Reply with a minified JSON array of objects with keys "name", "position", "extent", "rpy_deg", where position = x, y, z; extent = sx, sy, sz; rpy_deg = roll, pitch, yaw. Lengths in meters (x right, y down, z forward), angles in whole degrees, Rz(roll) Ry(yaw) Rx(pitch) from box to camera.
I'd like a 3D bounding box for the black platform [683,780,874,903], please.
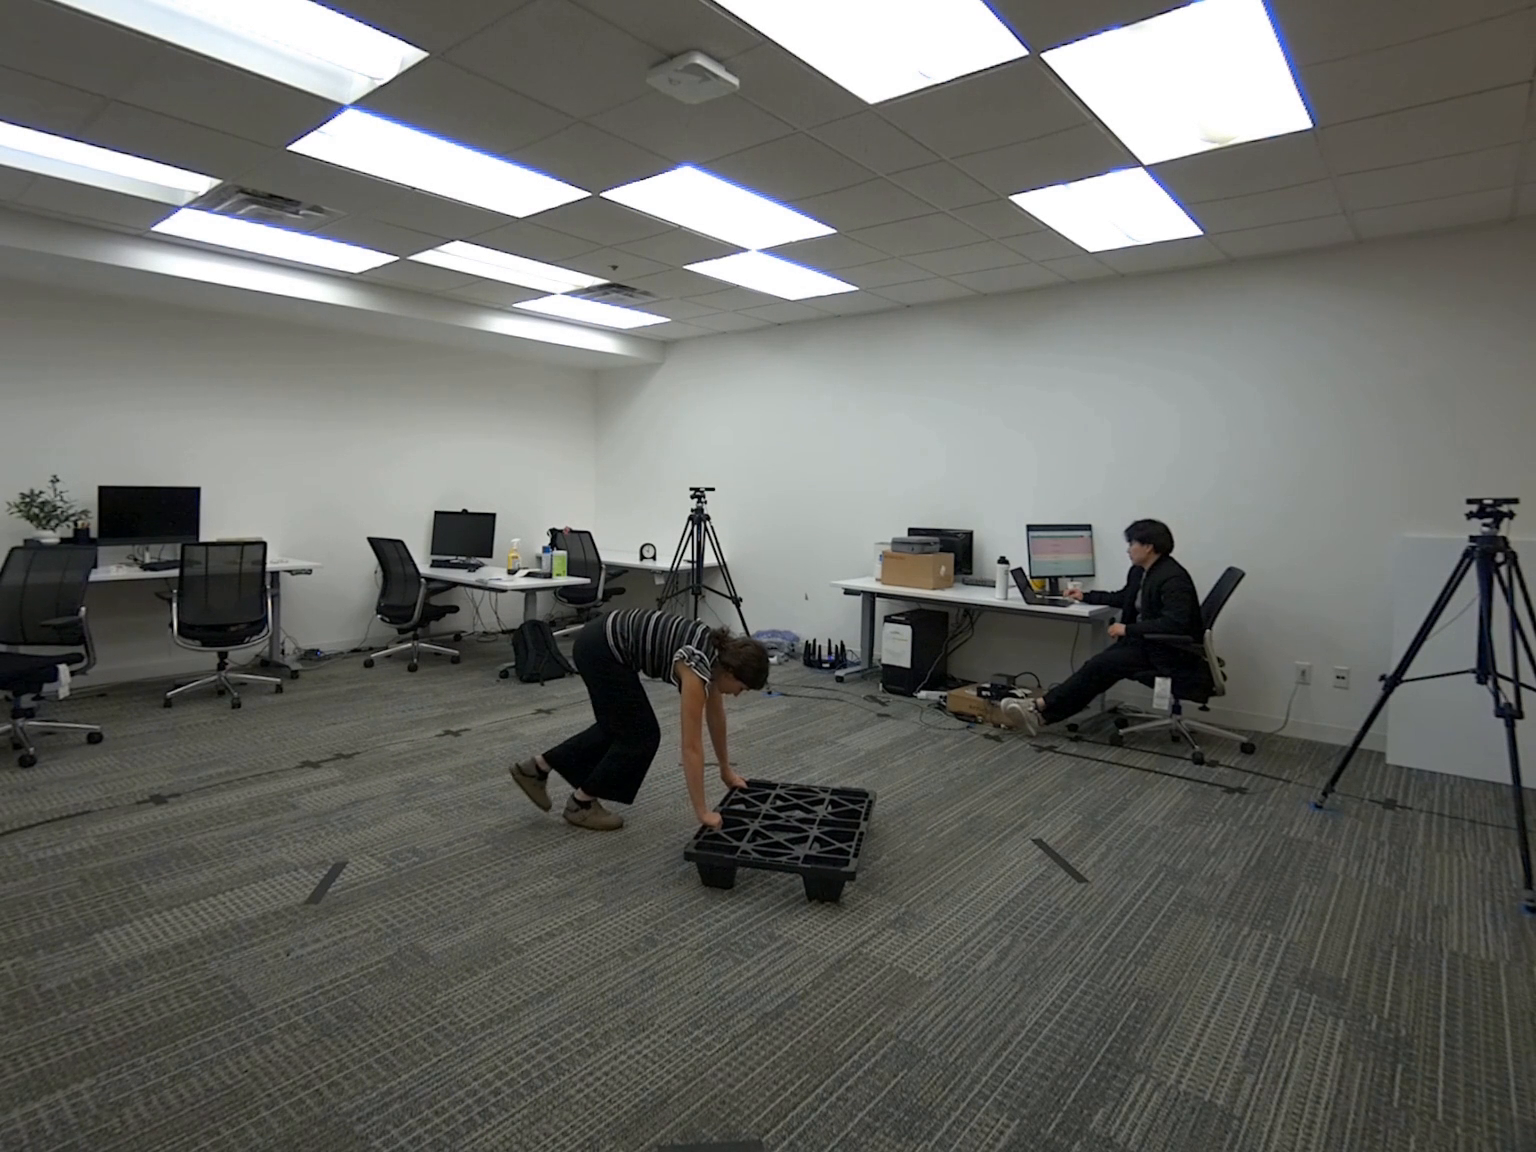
[{"name":"black platform","position":[0.075,0.985,3.255],"extent":[0.615,0.143,0.796],"rpy_deg":[2,6,13]}]
